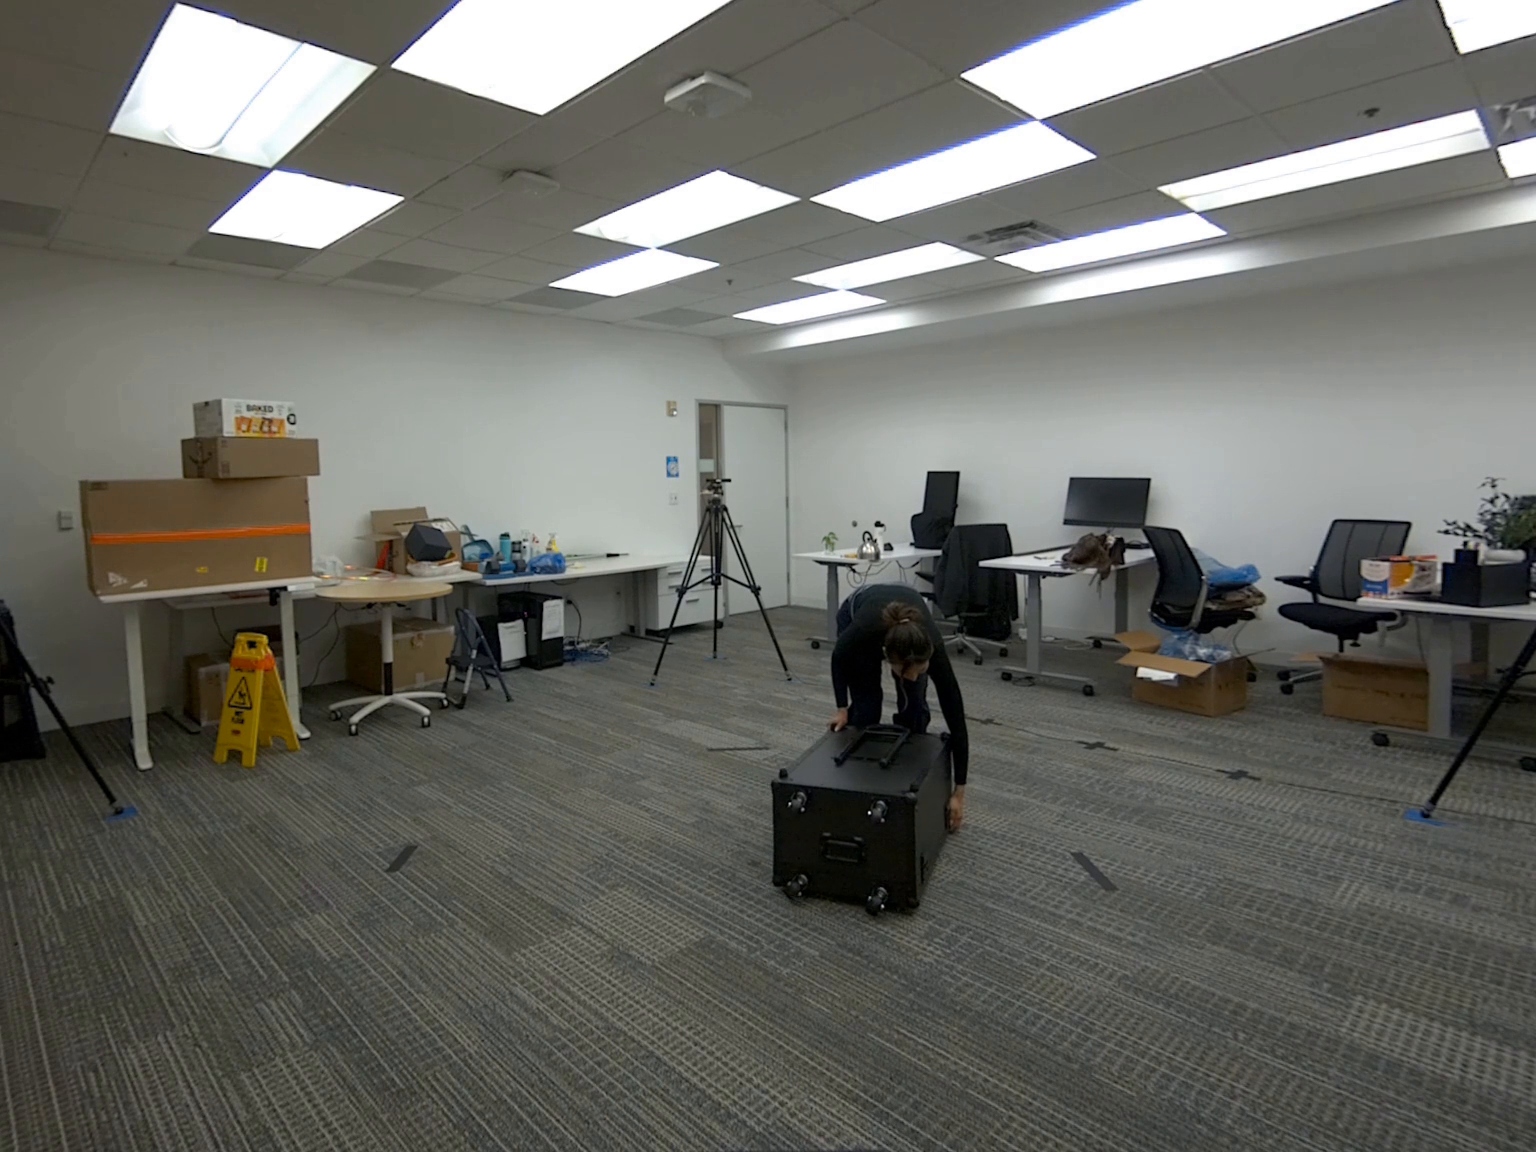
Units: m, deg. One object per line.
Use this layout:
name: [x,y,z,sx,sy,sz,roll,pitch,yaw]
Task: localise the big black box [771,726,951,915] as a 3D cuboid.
big black box: [0.364,0.834,3.090,0.532,0.394,0.848,0,6,21]
